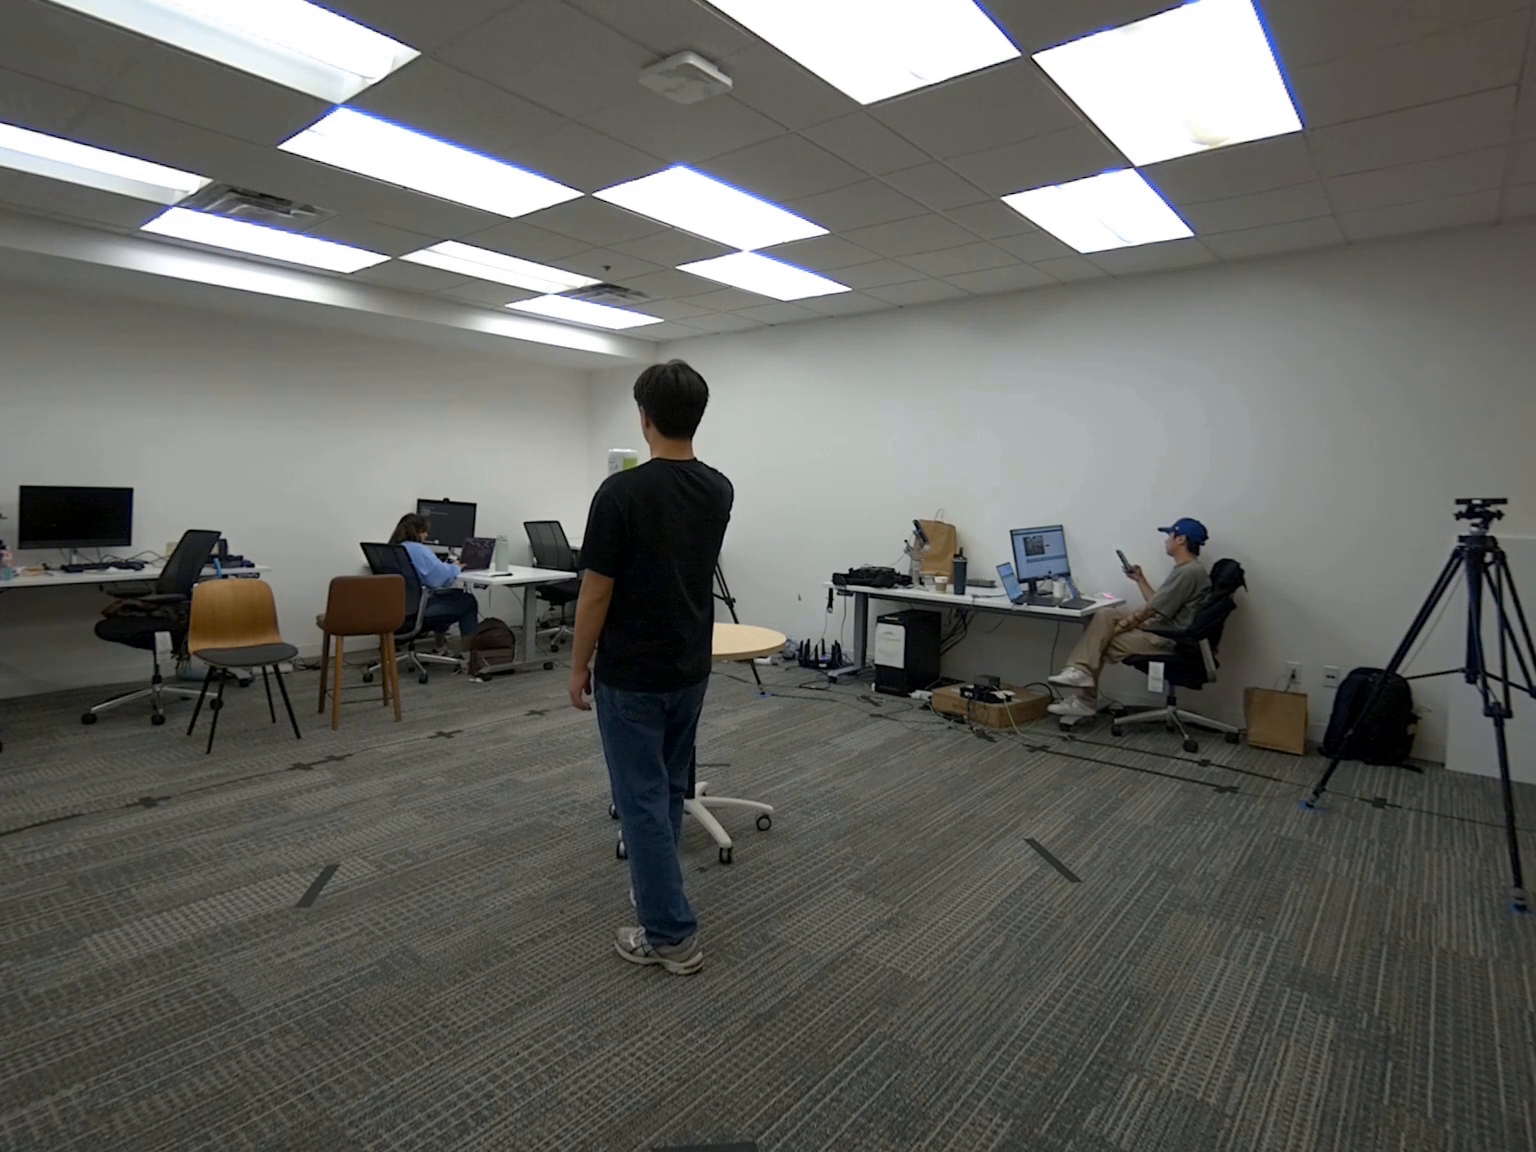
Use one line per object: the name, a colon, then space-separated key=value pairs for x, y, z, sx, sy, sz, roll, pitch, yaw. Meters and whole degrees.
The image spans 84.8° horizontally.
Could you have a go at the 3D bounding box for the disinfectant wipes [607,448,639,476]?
disinfectant wipes: x=-0.550 y=-0.360 z=3.113 sx=0.117 sy=0.216 sz=0.119 roll=2 pitch=9 yaw=-2
